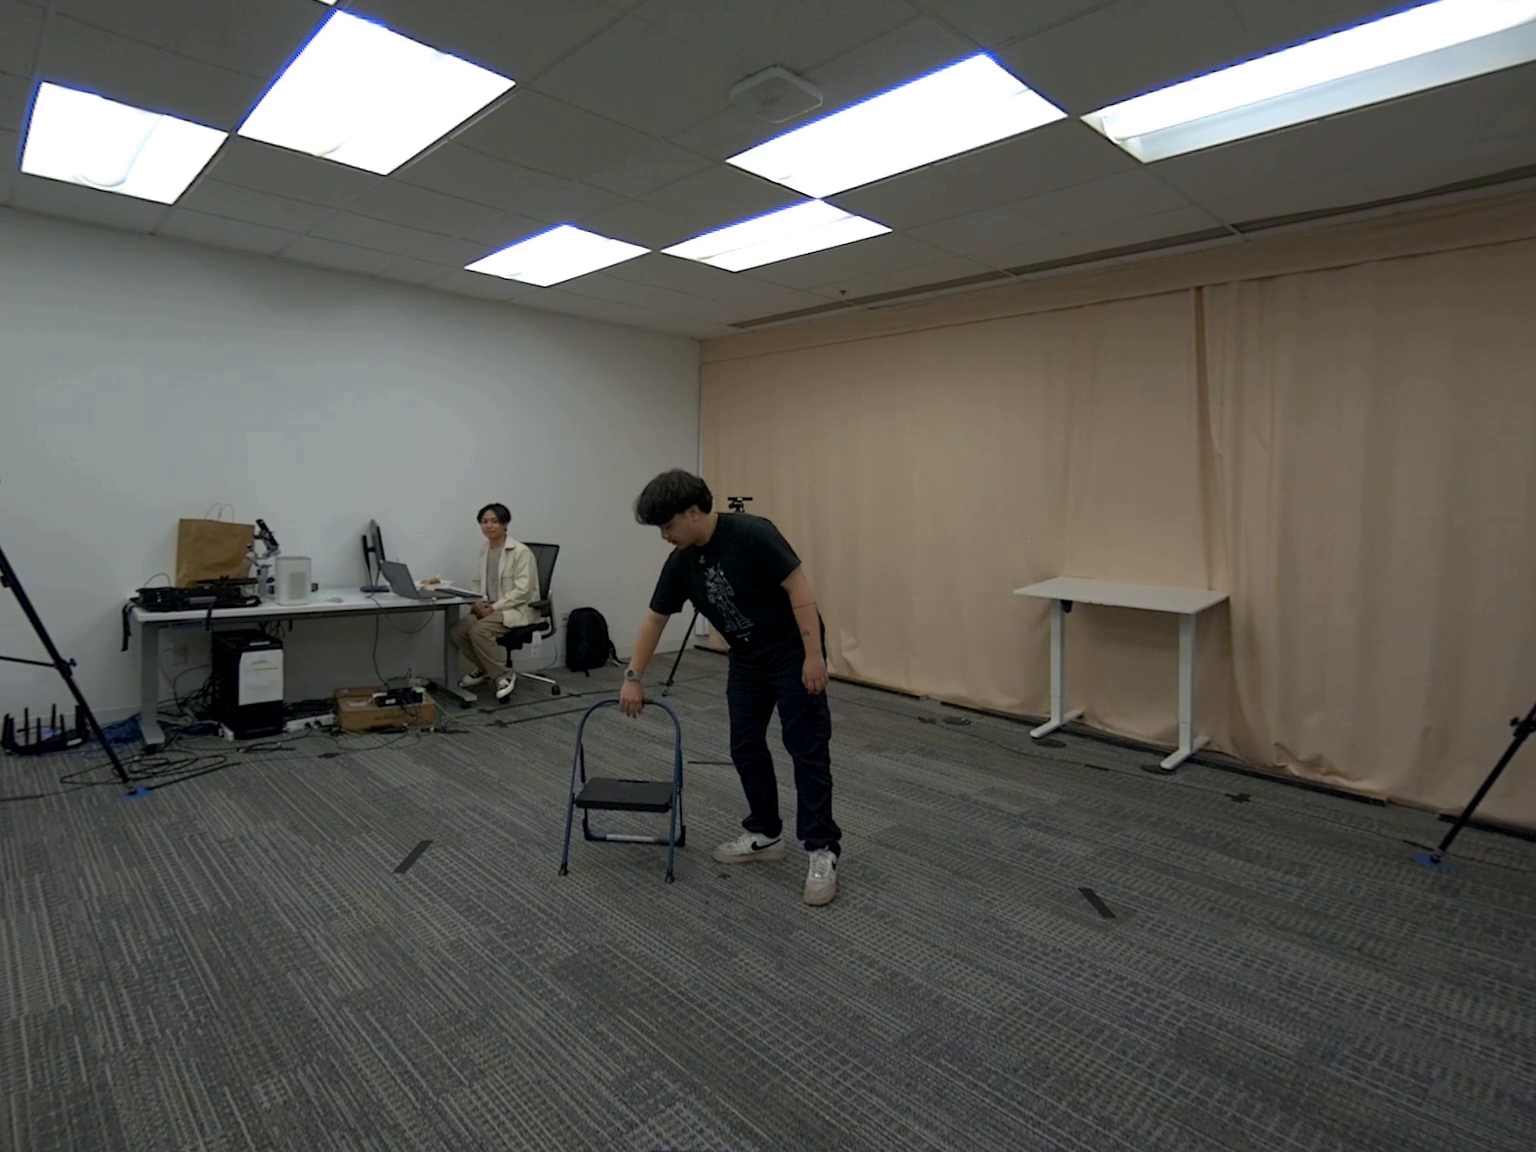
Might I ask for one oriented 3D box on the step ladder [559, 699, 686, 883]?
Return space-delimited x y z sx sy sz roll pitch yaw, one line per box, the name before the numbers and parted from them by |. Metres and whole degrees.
step ladder | -0.540 0.781 3.217 0.432 0.604 0.349 2 3 4
